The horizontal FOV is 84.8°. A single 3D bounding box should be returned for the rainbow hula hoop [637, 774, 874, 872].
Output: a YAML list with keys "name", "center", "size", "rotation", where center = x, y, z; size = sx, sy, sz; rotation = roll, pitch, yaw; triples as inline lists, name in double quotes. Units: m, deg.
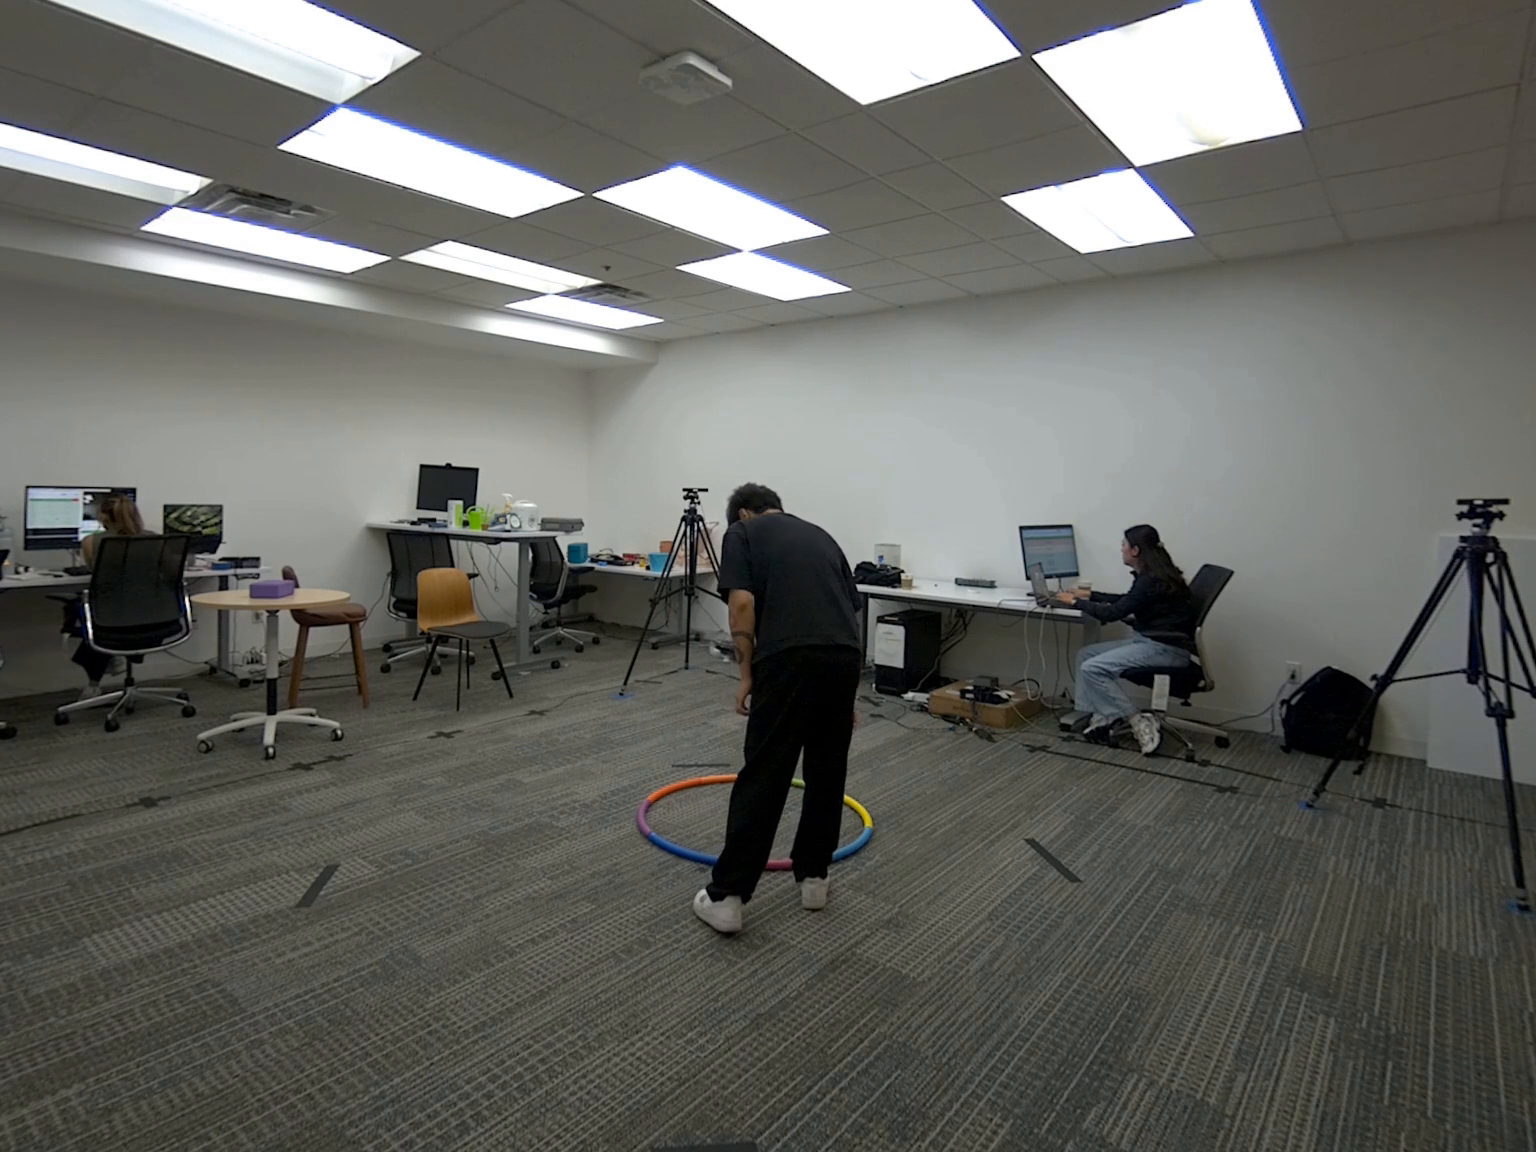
- name: "rainbow hula hoop"
  center: [-0.068, 0.997, 3.582]
  size: [0.978, 0.035, 0.984]
  rotation: [1, 6, -2]
